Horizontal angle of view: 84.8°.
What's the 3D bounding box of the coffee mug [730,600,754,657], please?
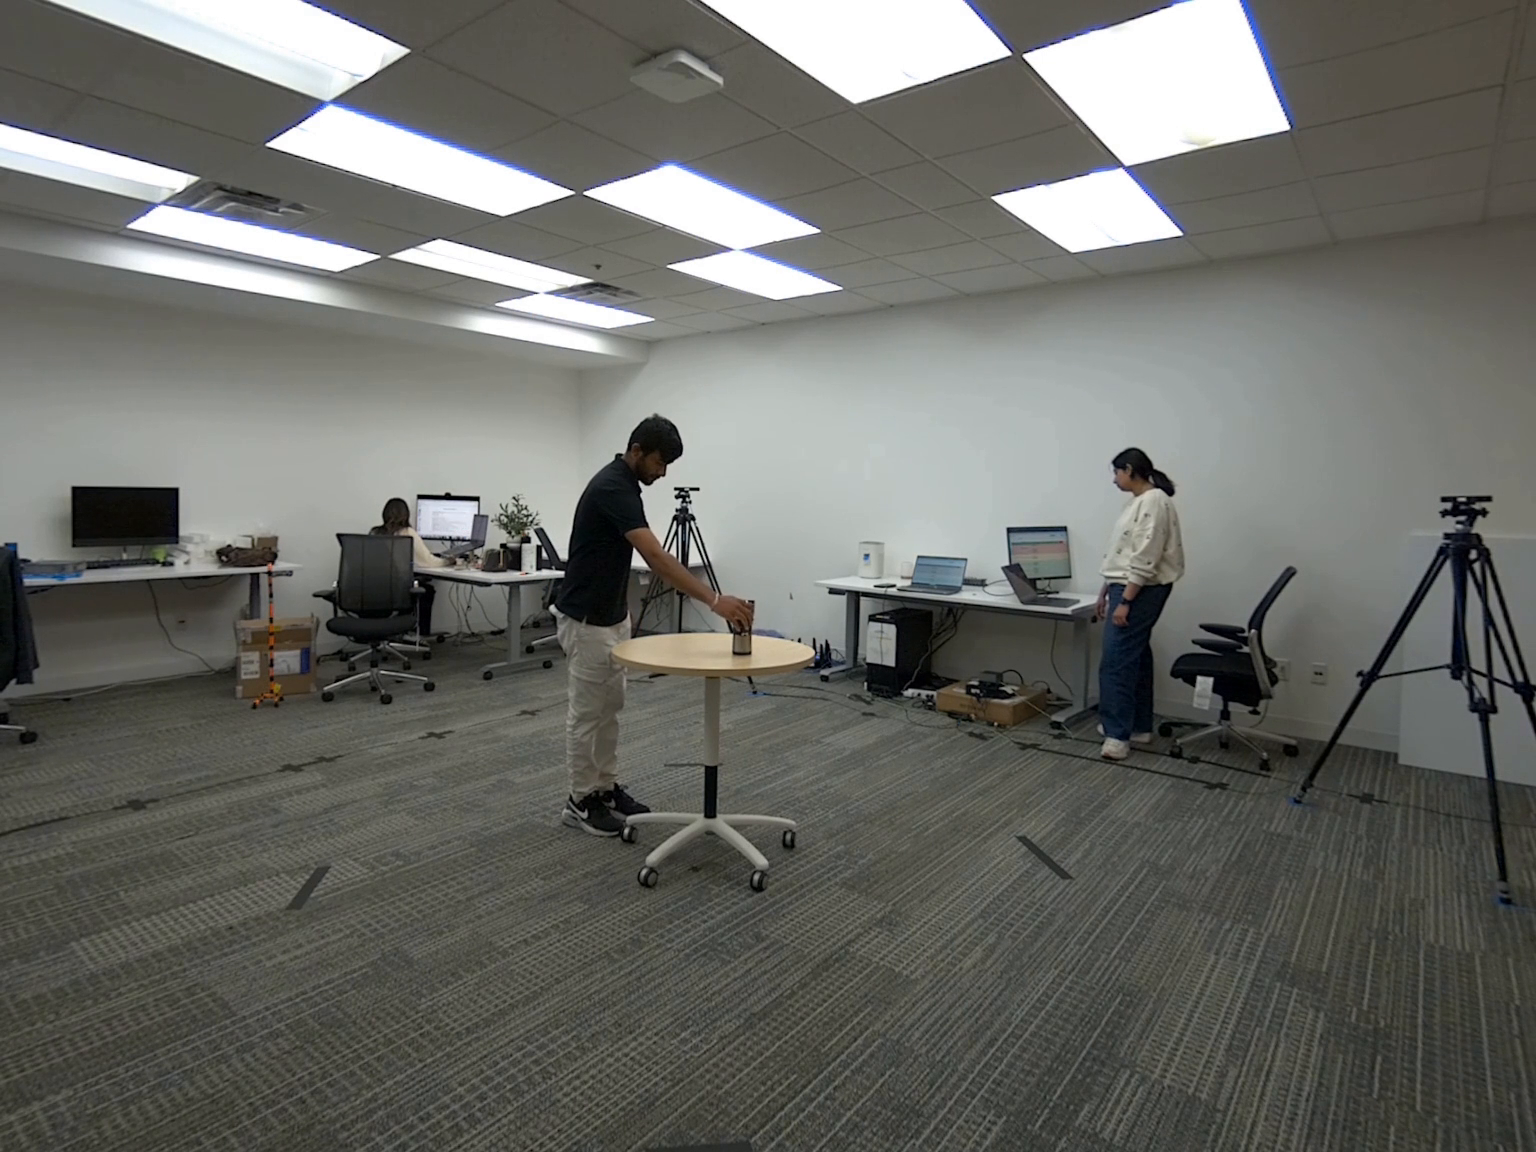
[{"bbox_3d":[-0.111,0.186,3.130,0.085,0.202,0.126,-6,9,-39],"label":"coffee mug"}]
